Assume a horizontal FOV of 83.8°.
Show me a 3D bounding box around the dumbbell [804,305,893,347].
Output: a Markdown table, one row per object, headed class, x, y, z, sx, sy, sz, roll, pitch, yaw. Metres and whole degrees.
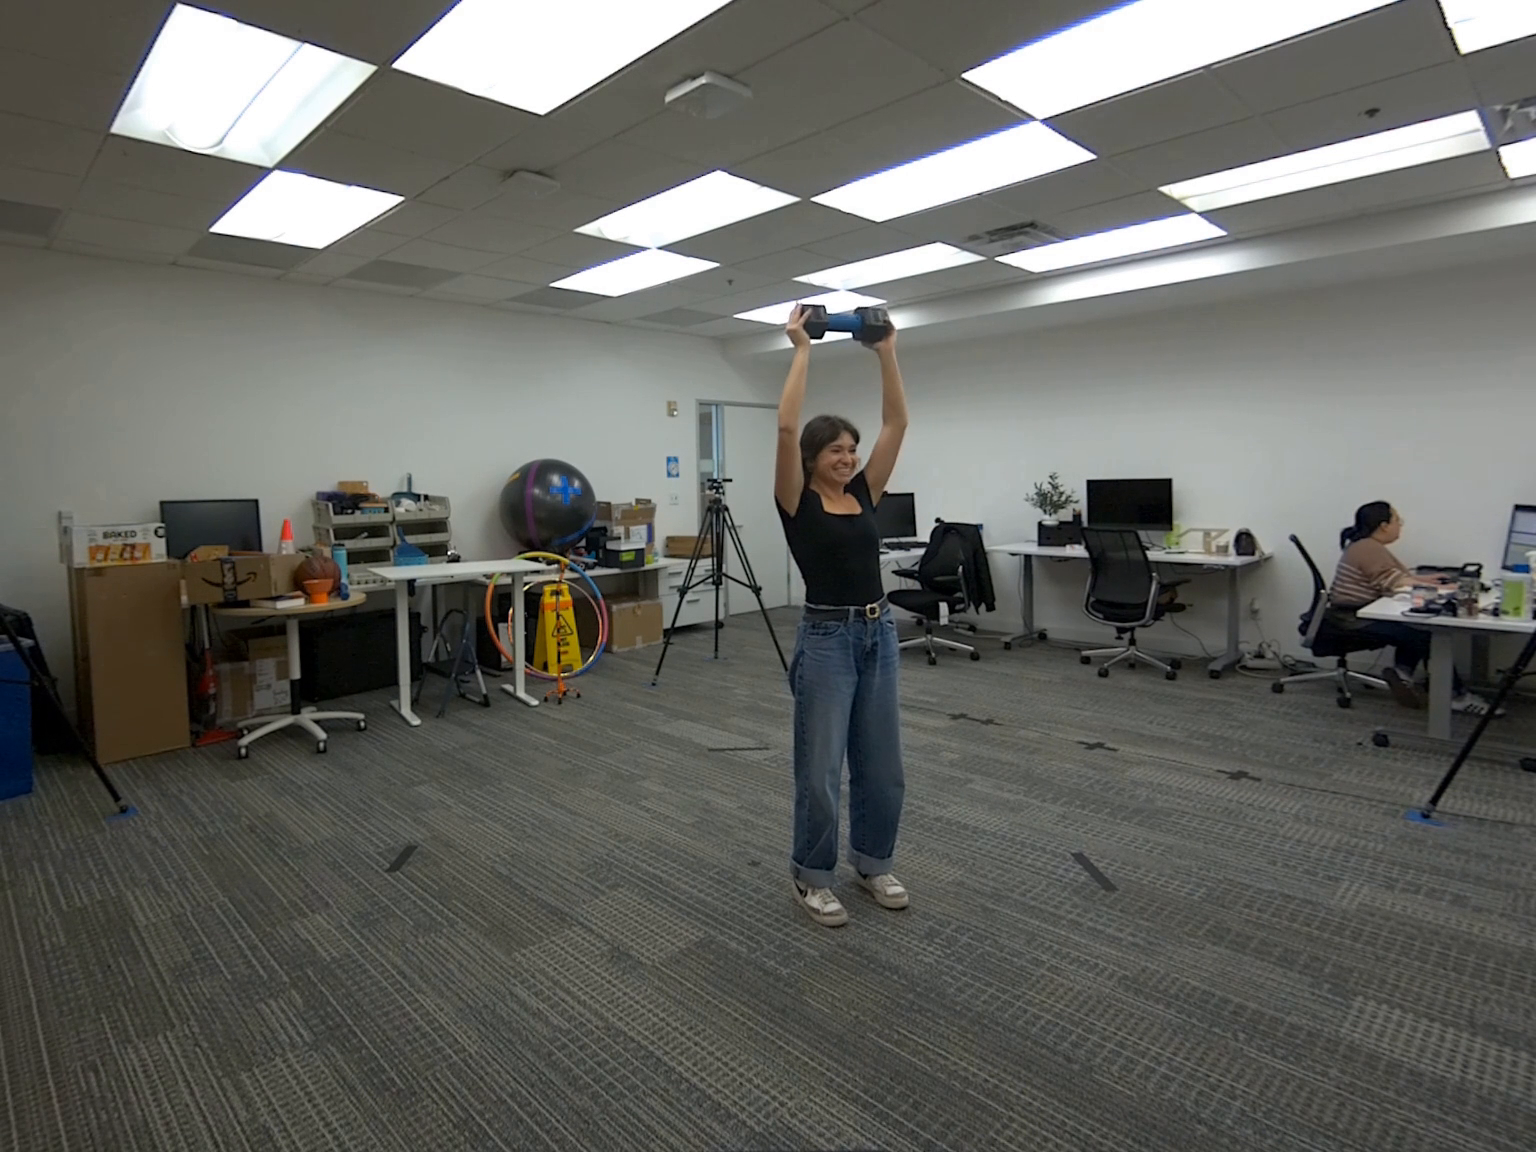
| class | x | y | z | sx | sy | sz | roll | pitch | yaw |
| --- | --- | --- | --- | --- | --- | --- | --- | --- | --- |
| dumbbell | 0.226 | -0.781 | 2.659 | 0.288 | 0.121 | 0.113 | -5 | 46 | -24 |
